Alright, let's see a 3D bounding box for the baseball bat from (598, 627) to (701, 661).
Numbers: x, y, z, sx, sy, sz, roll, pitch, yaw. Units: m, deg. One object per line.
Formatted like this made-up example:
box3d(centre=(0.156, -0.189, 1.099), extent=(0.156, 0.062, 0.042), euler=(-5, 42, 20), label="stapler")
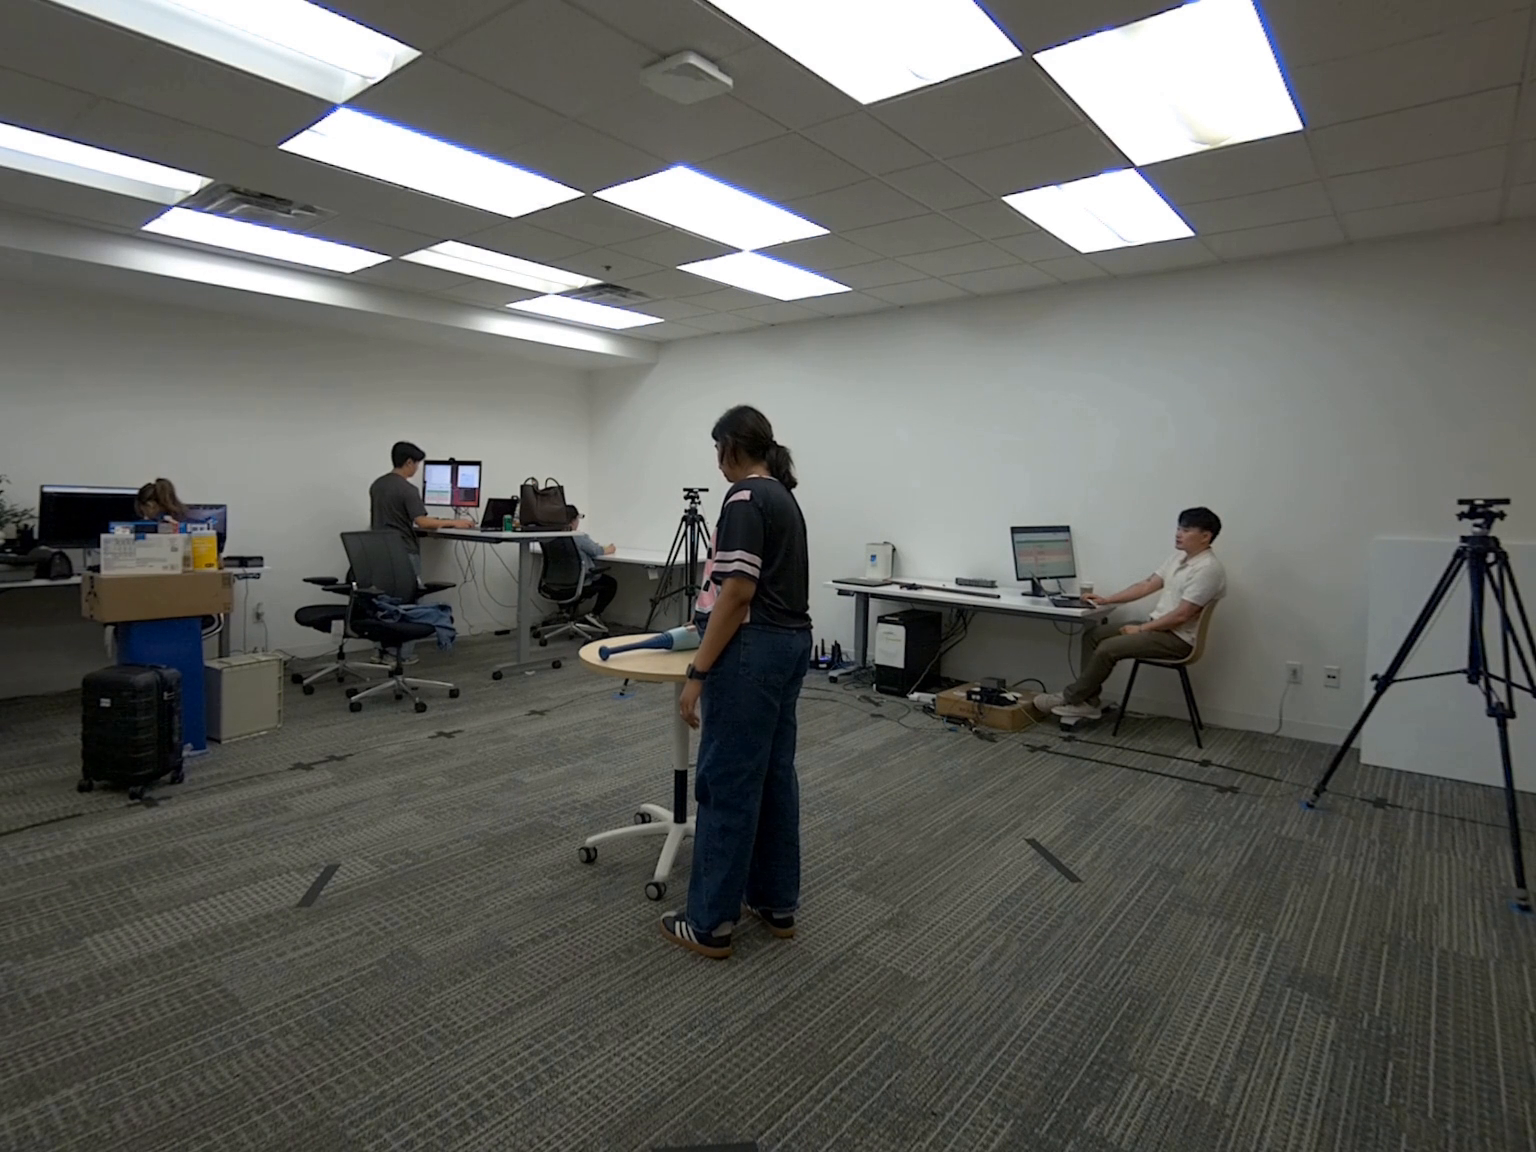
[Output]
box3d(centre=(-0.394, 0.242, 3.135), extent=(0.528, 0.088, 0.092), euler=(-7, 8, -40), label="baseball bat")
